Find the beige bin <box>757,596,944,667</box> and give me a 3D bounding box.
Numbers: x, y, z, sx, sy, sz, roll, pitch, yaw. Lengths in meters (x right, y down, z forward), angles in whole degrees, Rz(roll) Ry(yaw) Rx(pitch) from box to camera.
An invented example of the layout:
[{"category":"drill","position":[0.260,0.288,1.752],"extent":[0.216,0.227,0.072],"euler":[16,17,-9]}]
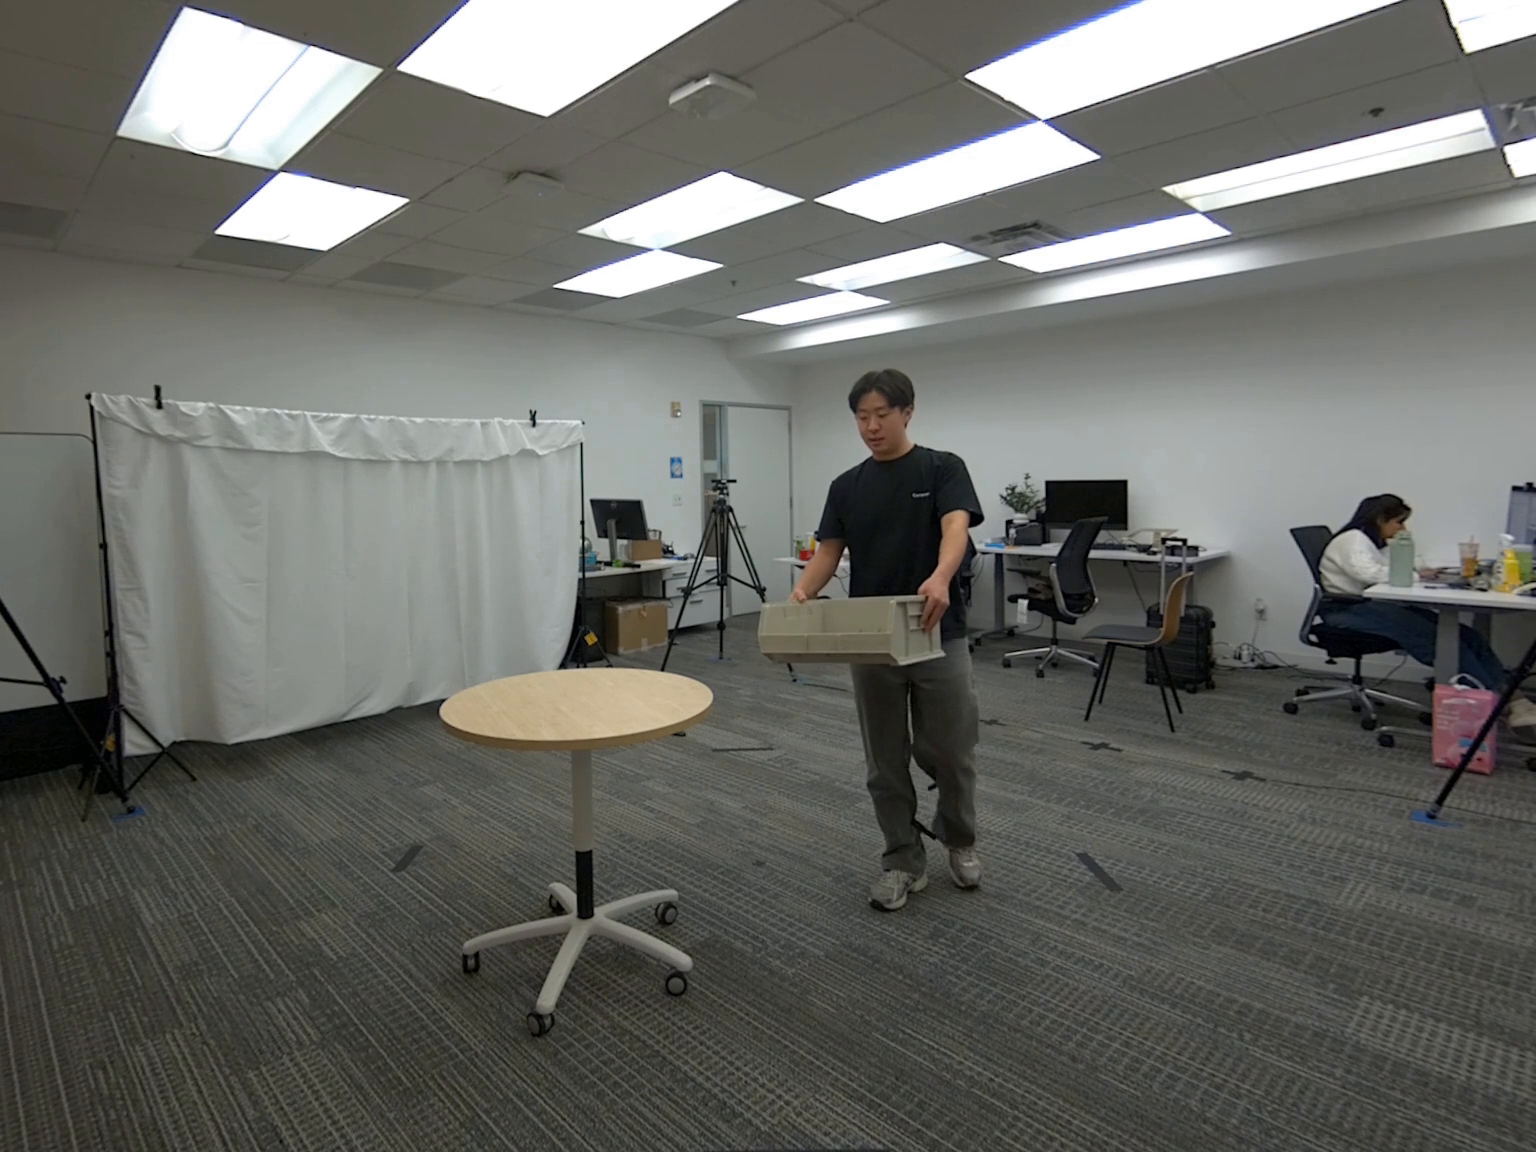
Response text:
[{"category":"beige bin","position":[0.246,0.156,2.481],"extent":[0.433,0.190,0.366],"euler":[-6,-5,36]}]
